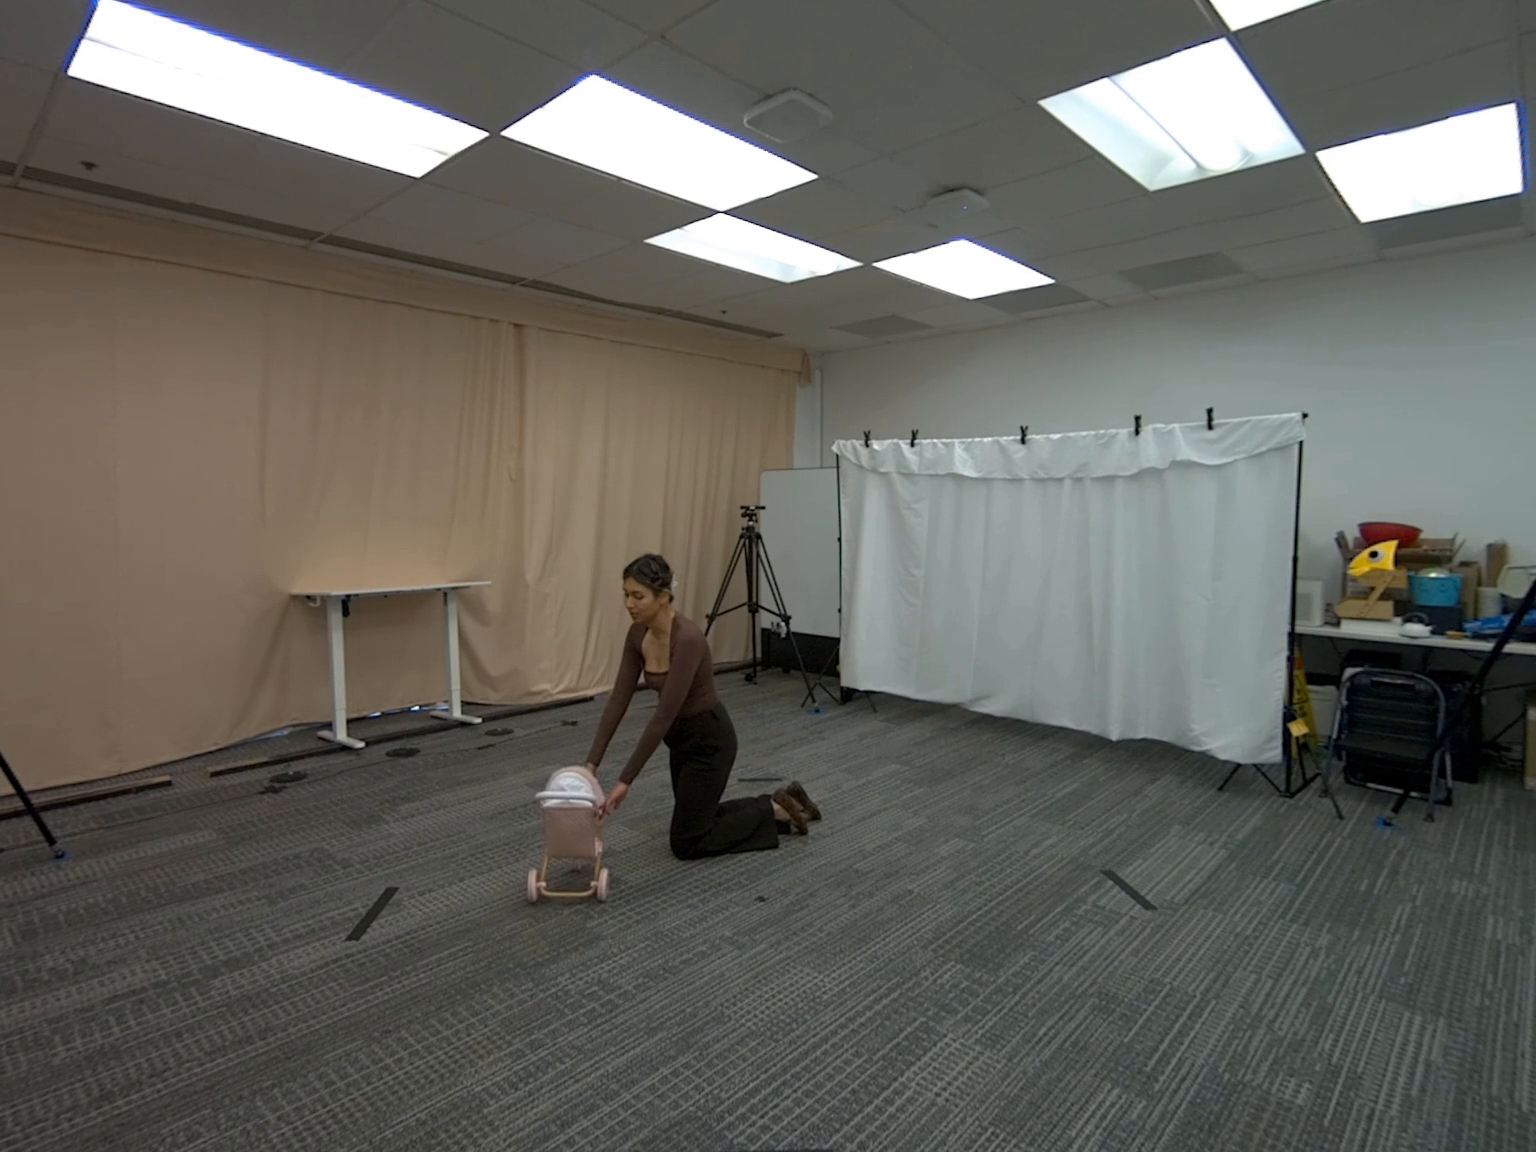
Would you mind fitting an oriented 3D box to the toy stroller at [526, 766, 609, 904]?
[{"bbox_3d":[-0.706,0.919,3.038,0.282,0.529,0.344,2,18,0],"label":"toy stroller"}]
